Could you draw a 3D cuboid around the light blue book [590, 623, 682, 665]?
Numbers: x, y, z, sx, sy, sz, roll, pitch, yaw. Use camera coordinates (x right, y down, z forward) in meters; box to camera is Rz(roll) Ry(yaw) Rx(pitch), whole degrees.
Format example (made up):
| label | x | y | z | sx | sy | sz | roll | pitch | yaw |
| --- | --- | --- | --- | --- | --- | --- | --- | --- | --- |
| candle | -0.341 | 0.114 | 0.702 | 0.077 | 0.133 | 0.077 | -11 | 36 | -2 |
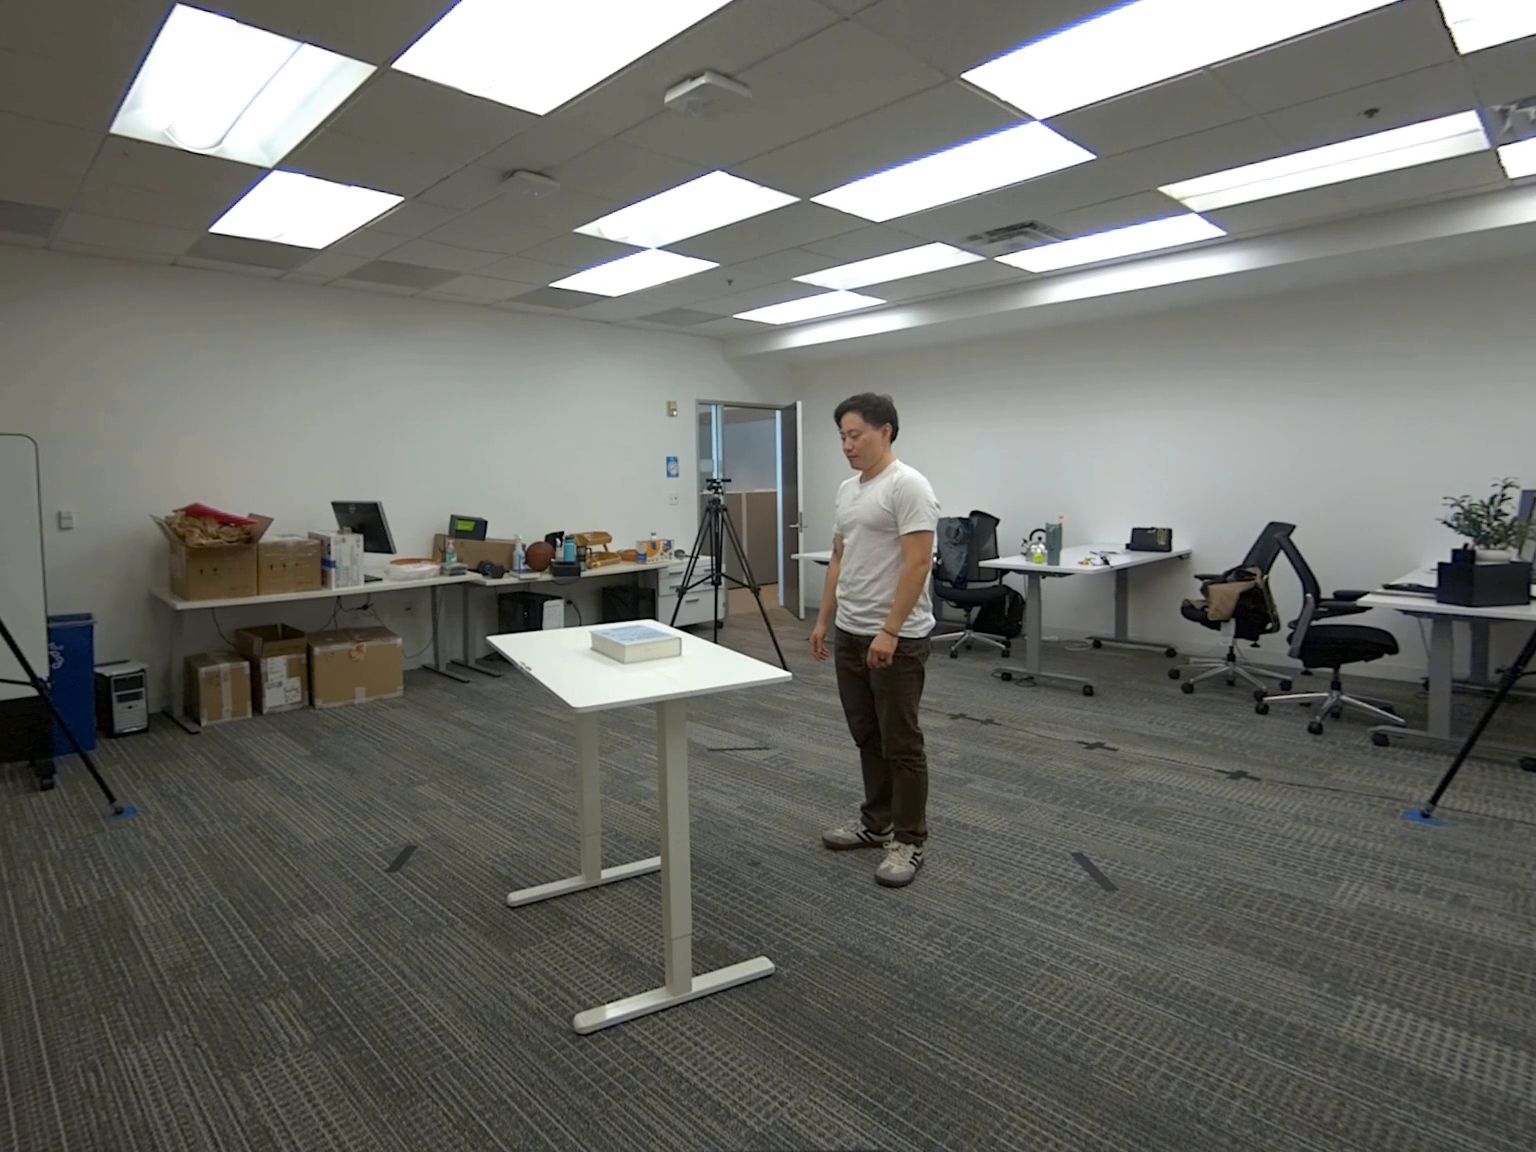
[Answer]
| label | x | y | z | sx | sy | sz | roll | pitch | yaw |
| --- | --- | --- | --- | --- | --- | --- | --- | --- | --- |
| light blue book | -0.401 | 0.207 | 2.569 | 0.187 | 0.059 | 0.268 | -5 | 8 | -32 |
